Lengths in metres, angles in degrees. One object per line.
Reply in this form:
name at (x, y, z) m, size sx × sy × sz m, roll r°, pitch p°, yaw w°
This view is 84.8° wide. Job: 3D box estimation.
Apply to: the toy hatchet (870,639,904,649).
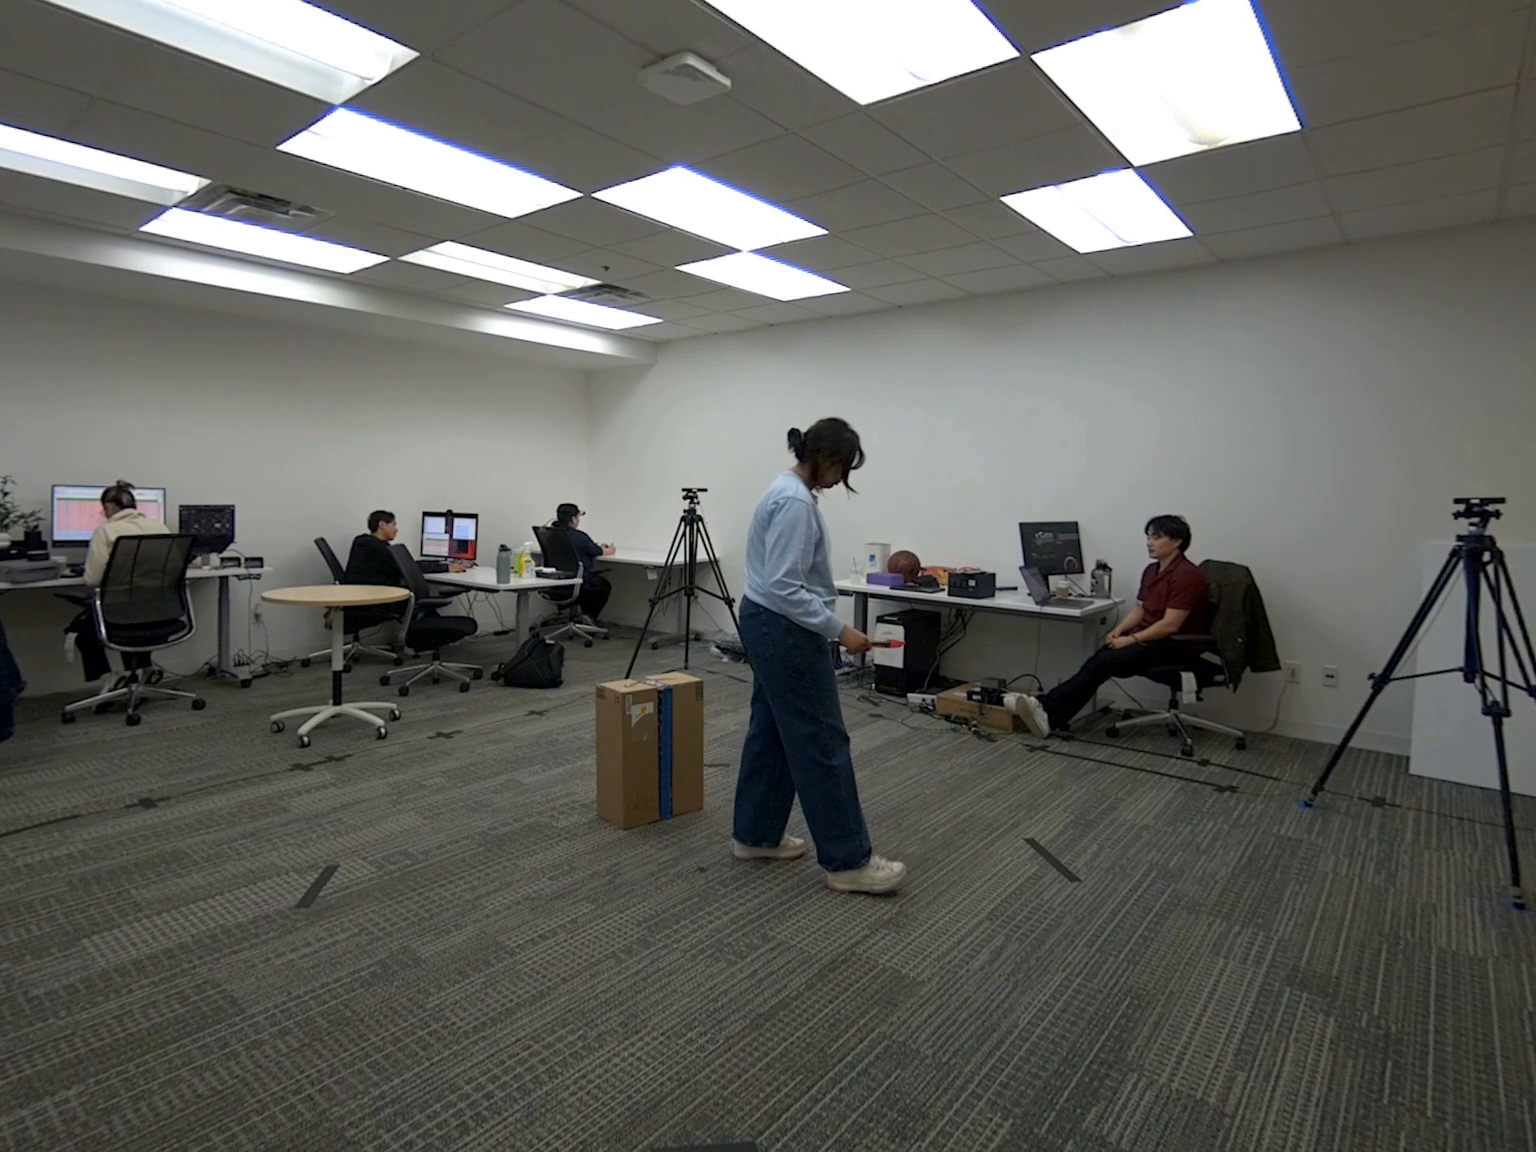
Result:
toy hatchet at (0.328, 0.241, 2.975) m, size 0.269 × 0.030 × 0.131 m, roll -1°, pitch -5°, yaw -5°
